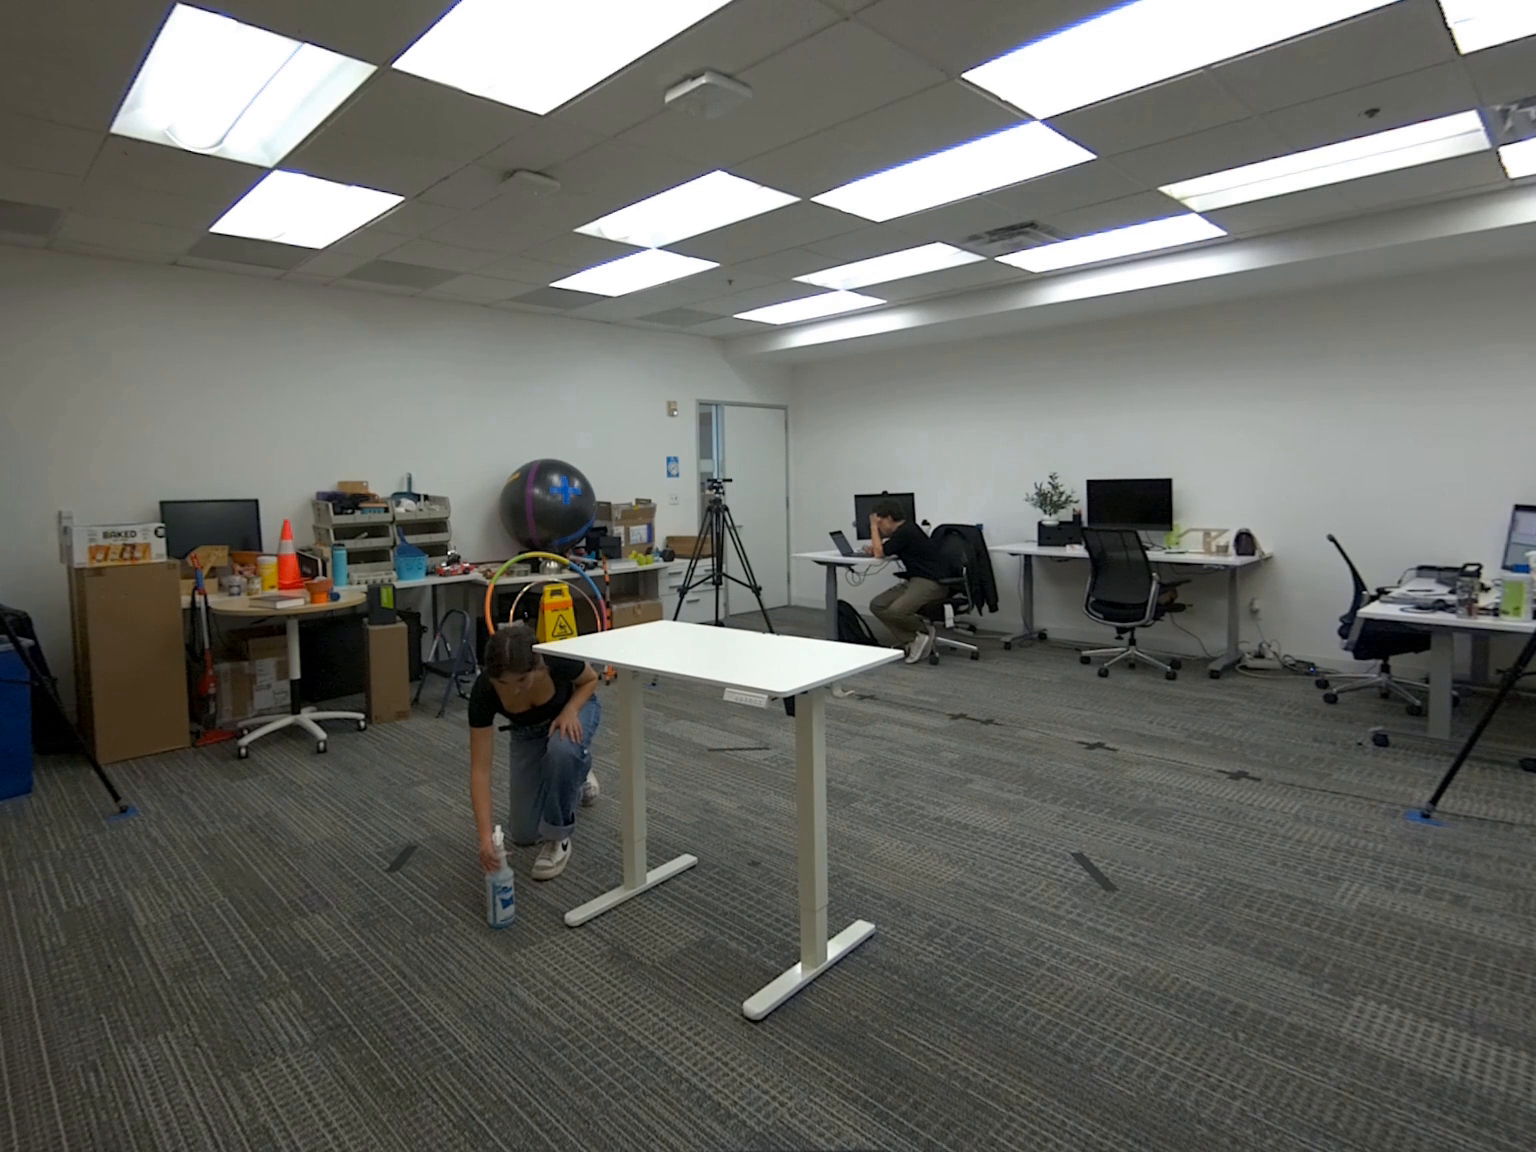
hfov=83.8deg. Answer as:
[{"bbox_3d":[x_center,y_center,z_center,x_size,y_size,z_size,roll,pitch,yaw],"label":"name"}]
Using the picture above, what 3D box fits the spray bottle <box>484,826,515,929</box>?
[{"bbox_3d":[-0.857,0.963,2.722,0.088,0.297,0.089,1,2,10],"label":"spray bottle"}]
